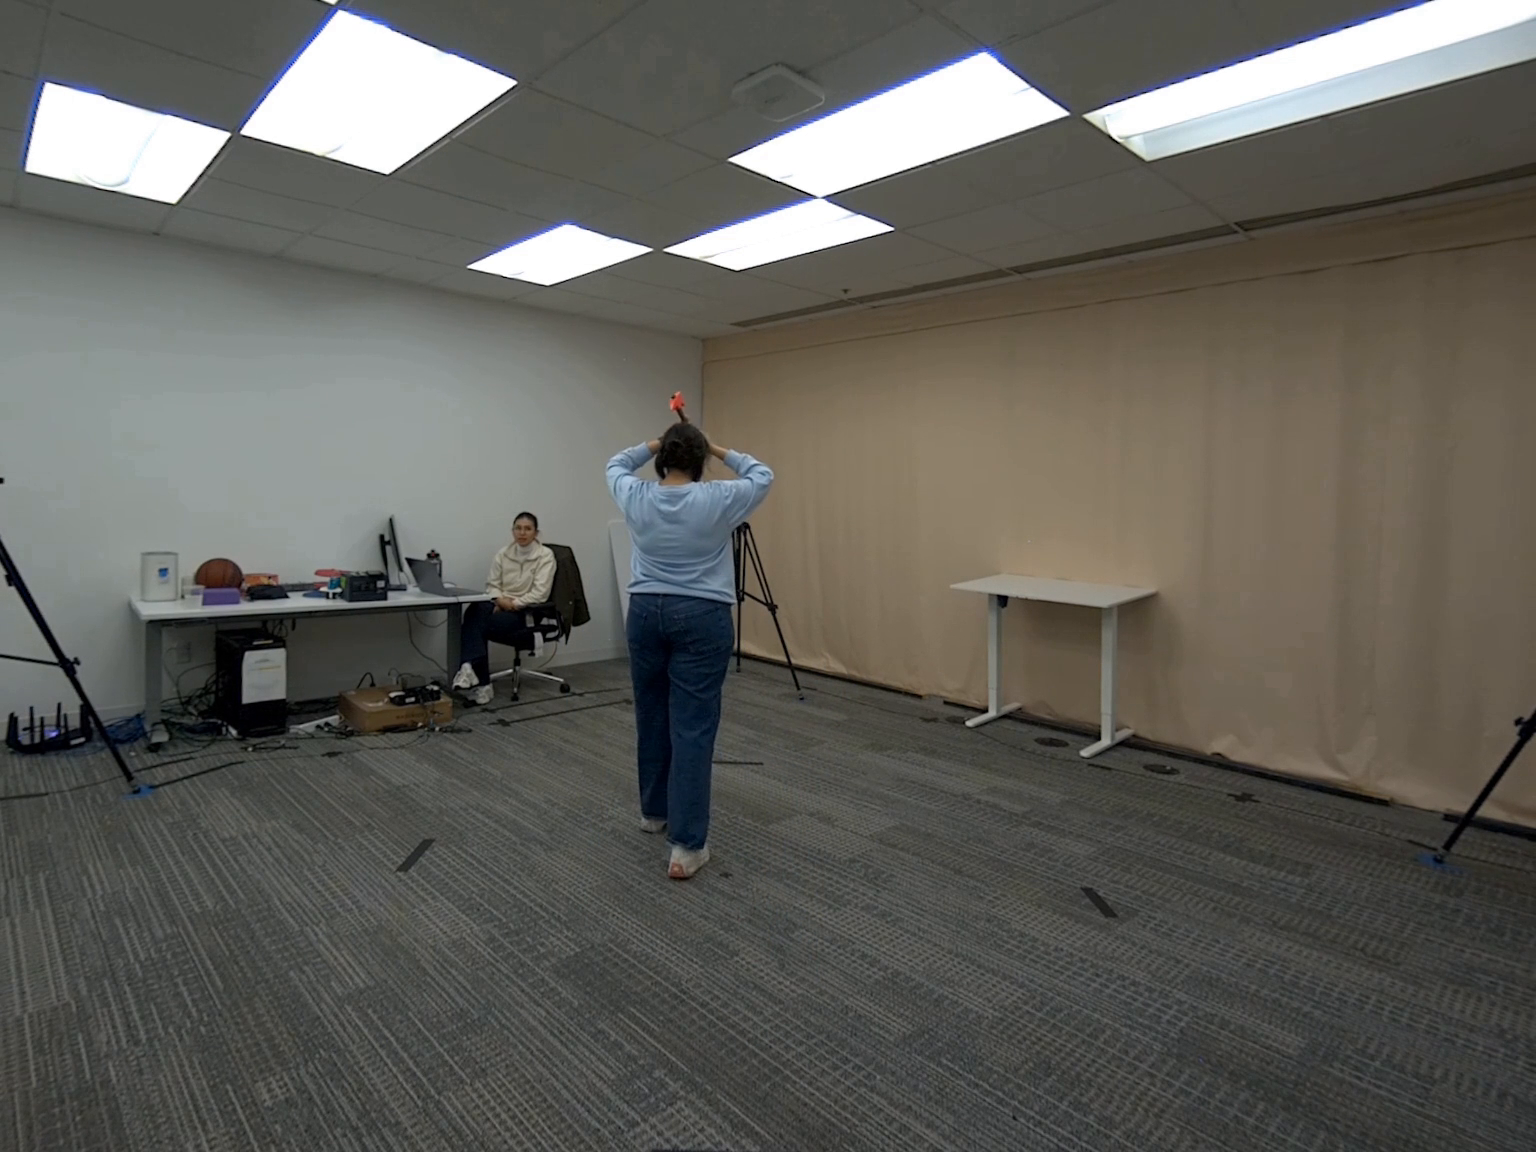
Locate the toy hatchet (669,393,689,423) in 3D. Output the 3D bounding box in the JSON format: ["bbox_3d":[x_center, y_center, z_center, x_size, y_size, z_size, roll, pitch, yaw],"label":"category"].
[{"bbox_3d":[-0.334,-0.643,3.408,0.030,0.133,0.262,-11,-34,18],"label":"toy hatchet"}]
